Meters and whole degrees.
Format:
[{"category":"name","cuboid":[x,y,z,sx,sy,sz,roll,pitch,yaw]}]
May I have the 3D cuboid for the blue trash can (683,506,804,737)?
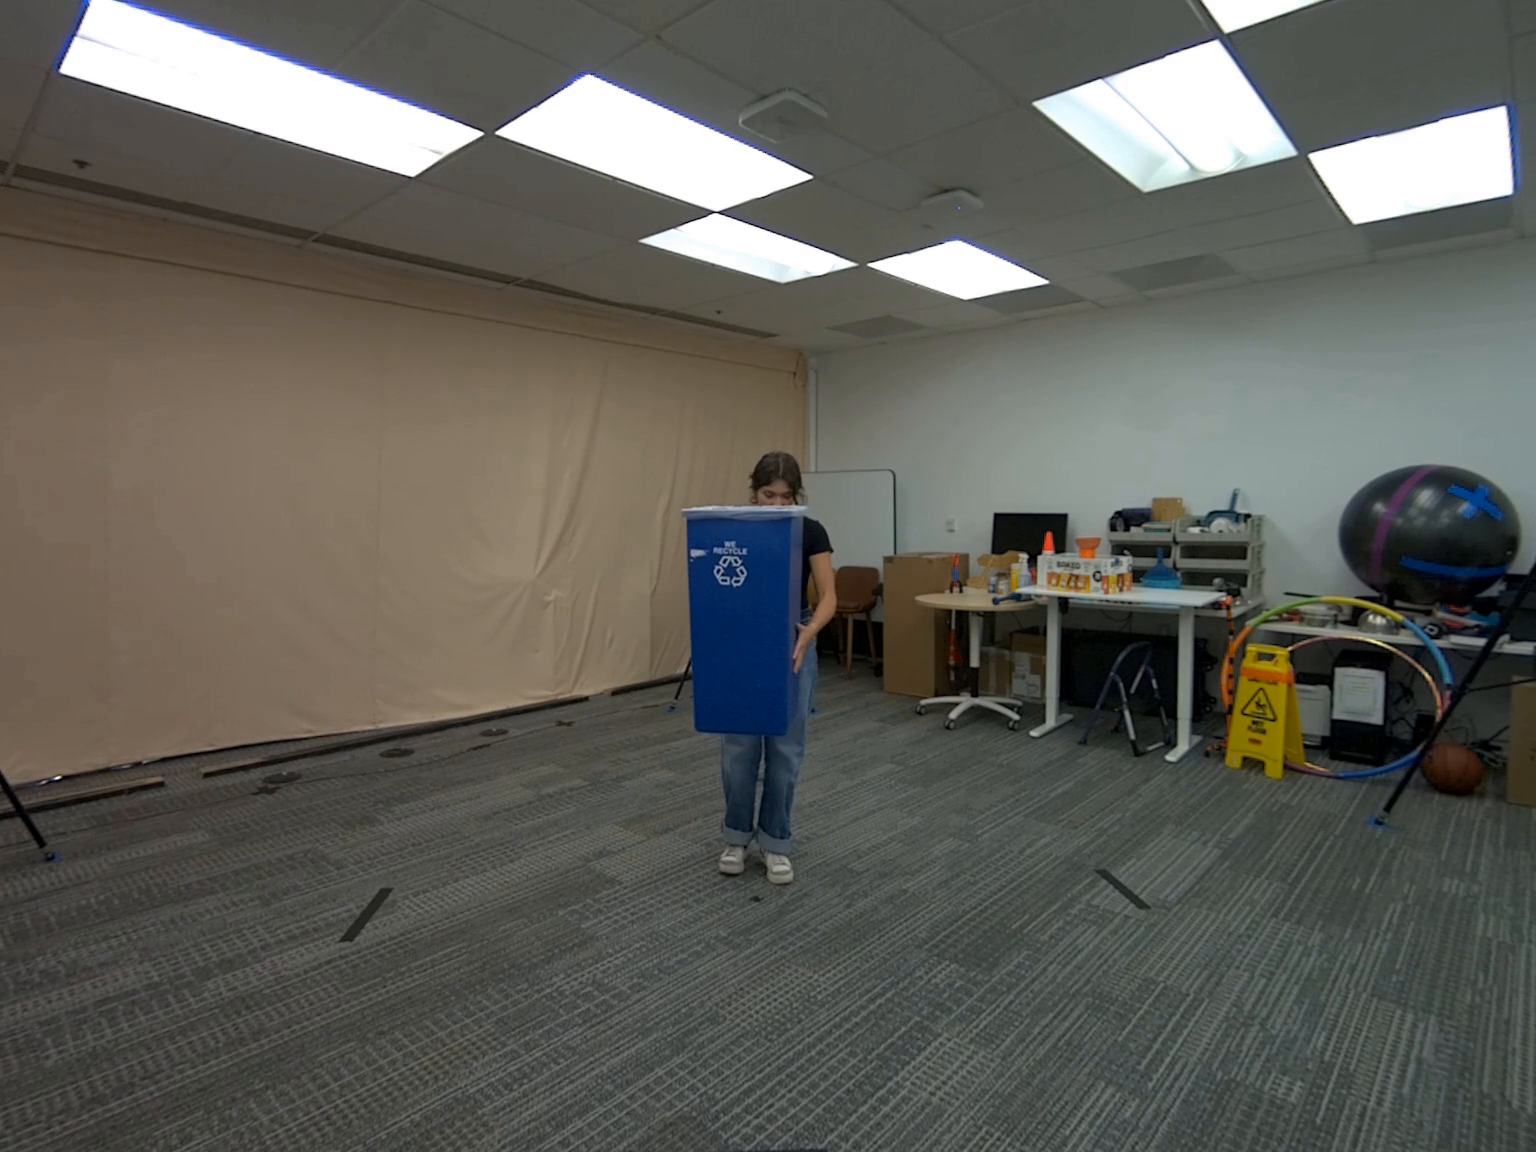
[{"category":"blue trash can","cuboid":[-0.063,0.127,2.787,0.379,0.712,0.374,-1,4,11]}]
